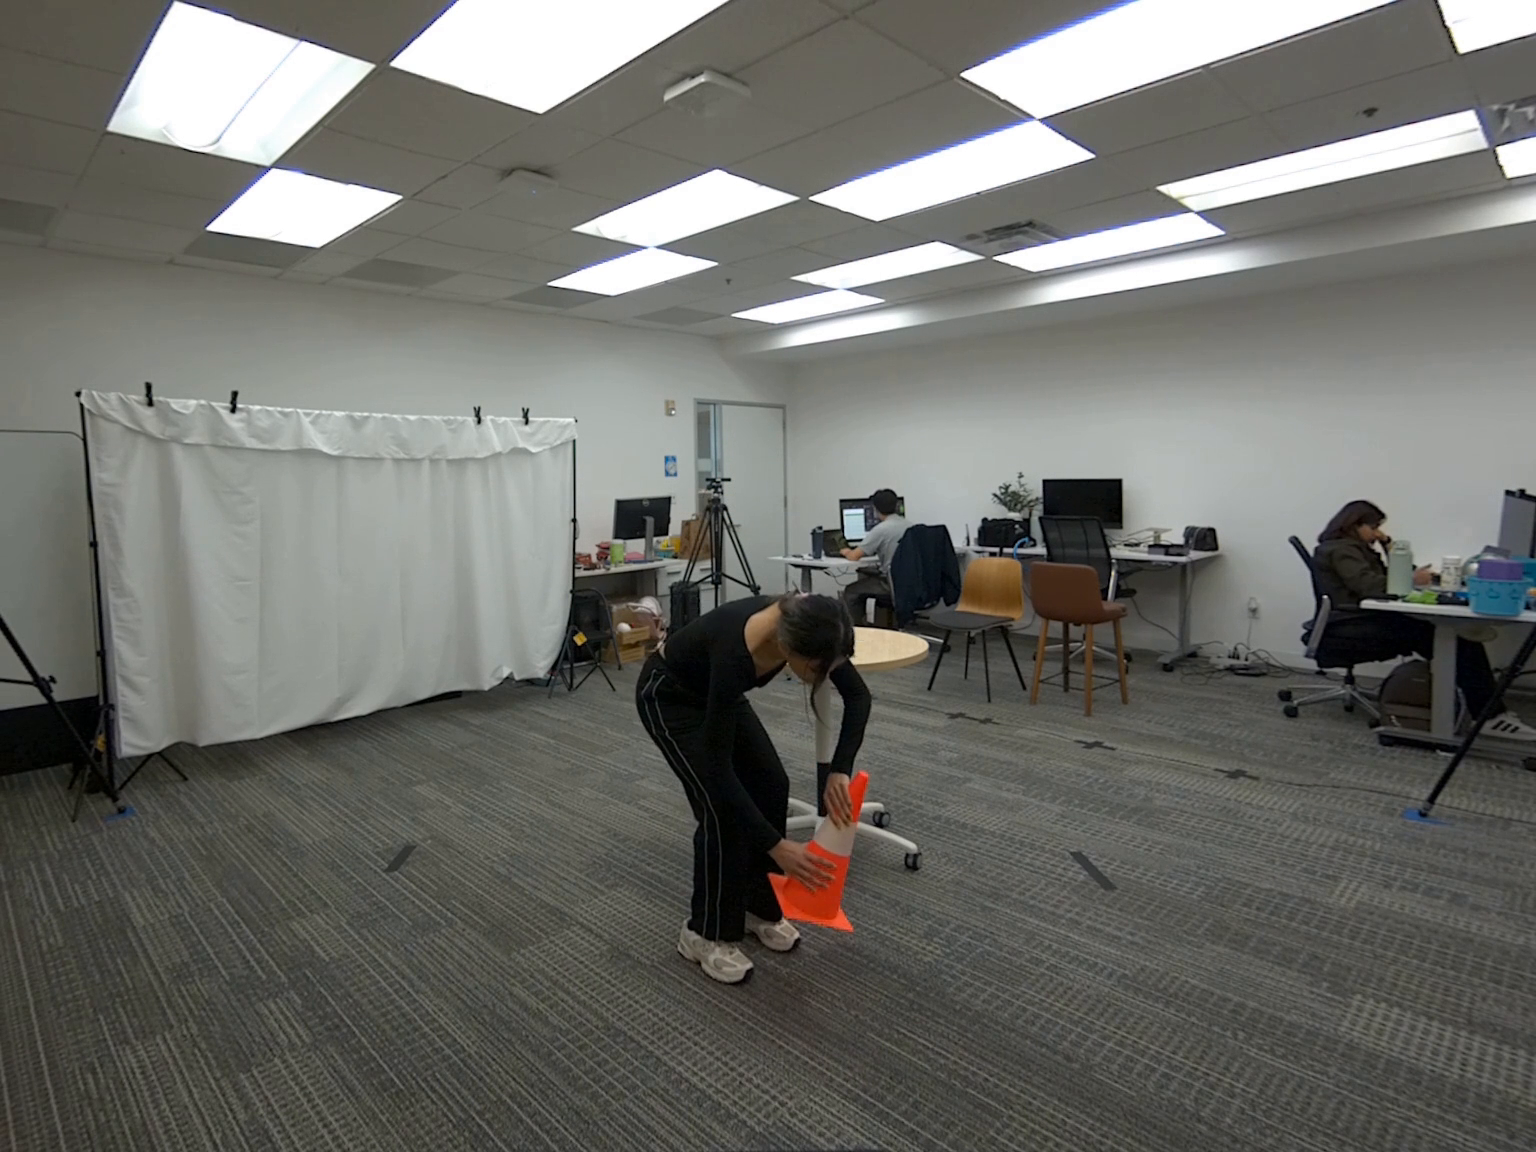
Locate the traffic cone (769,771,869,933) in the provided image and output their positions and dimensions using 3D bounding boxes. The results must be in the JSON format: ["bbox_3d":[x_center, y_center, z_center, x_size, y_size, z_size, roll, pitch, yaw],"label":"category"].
[{"bbox_3d":[0.183,0.699,2.253,0.200,0.382,0.209,18,6,-15],"label":"traffic cone"}]
